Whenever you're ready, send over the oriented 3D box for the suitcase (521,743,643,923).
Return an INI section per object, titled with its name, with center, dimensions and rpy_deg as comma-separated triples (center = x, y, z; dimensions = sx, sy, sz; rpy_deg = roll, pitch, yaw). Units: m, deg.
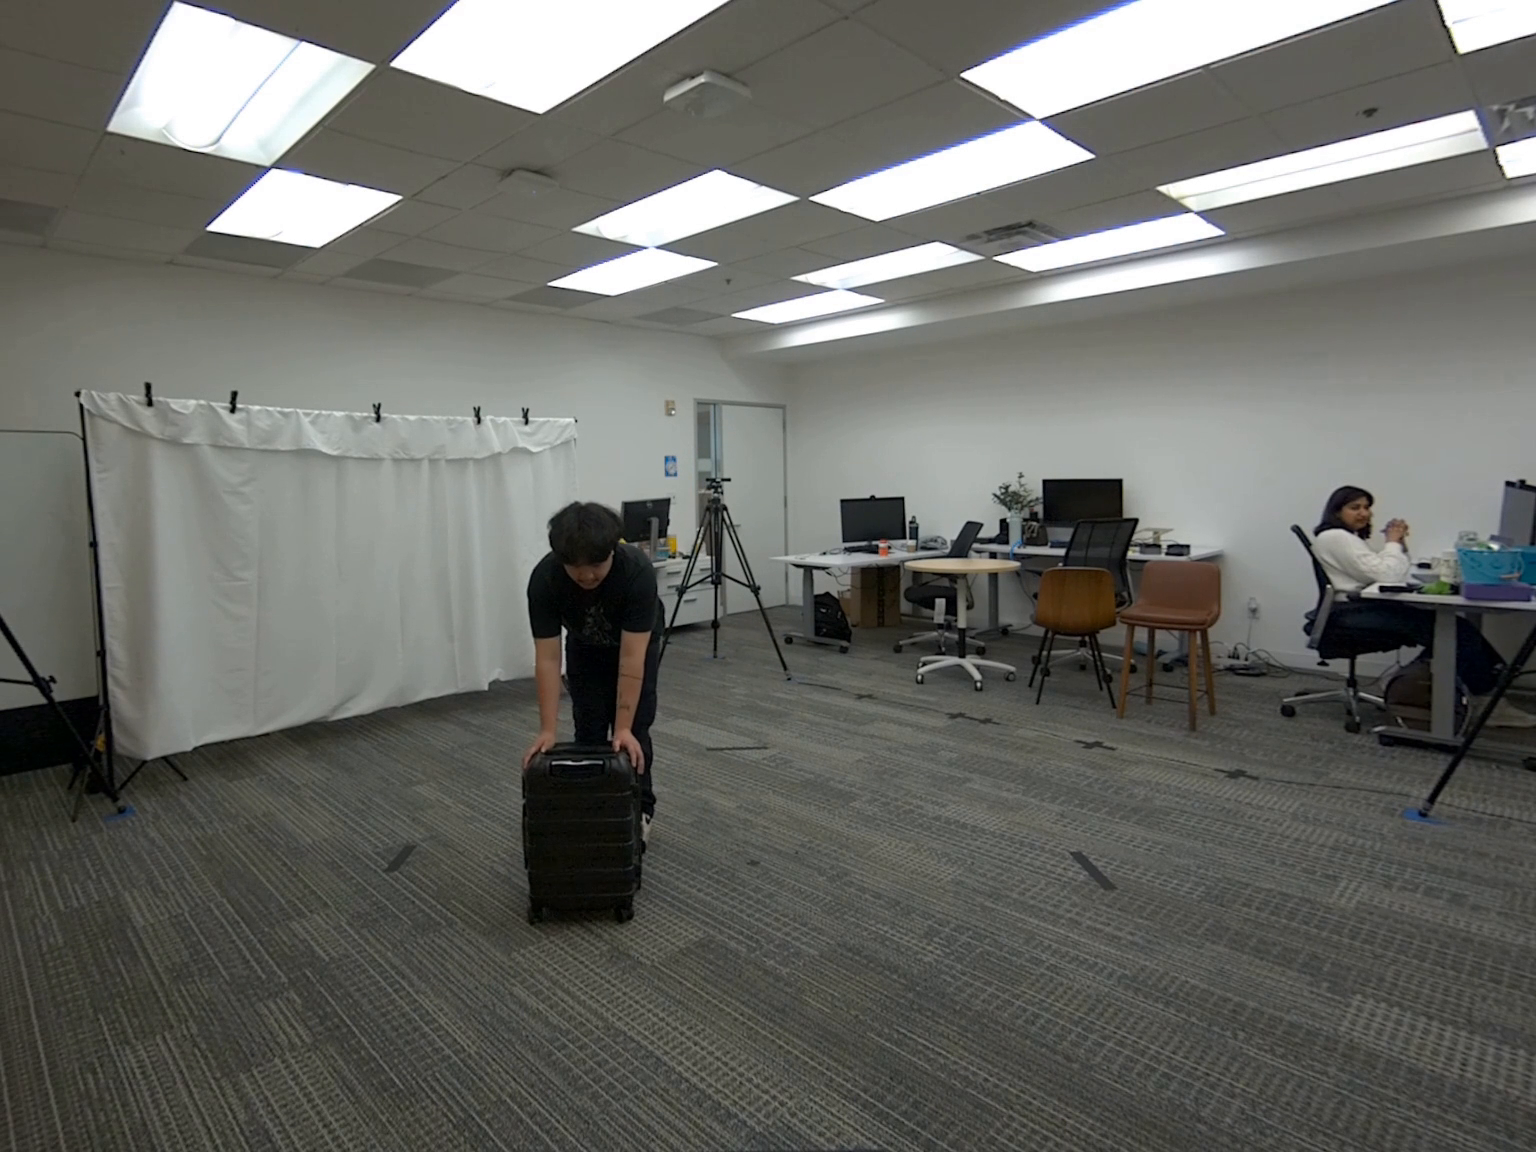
[suitcase]
center = -0.605, 0.818, 2.786
dimensions = 0.375, 0.546, 0.250
rpy_deg = -1, 6, -1
